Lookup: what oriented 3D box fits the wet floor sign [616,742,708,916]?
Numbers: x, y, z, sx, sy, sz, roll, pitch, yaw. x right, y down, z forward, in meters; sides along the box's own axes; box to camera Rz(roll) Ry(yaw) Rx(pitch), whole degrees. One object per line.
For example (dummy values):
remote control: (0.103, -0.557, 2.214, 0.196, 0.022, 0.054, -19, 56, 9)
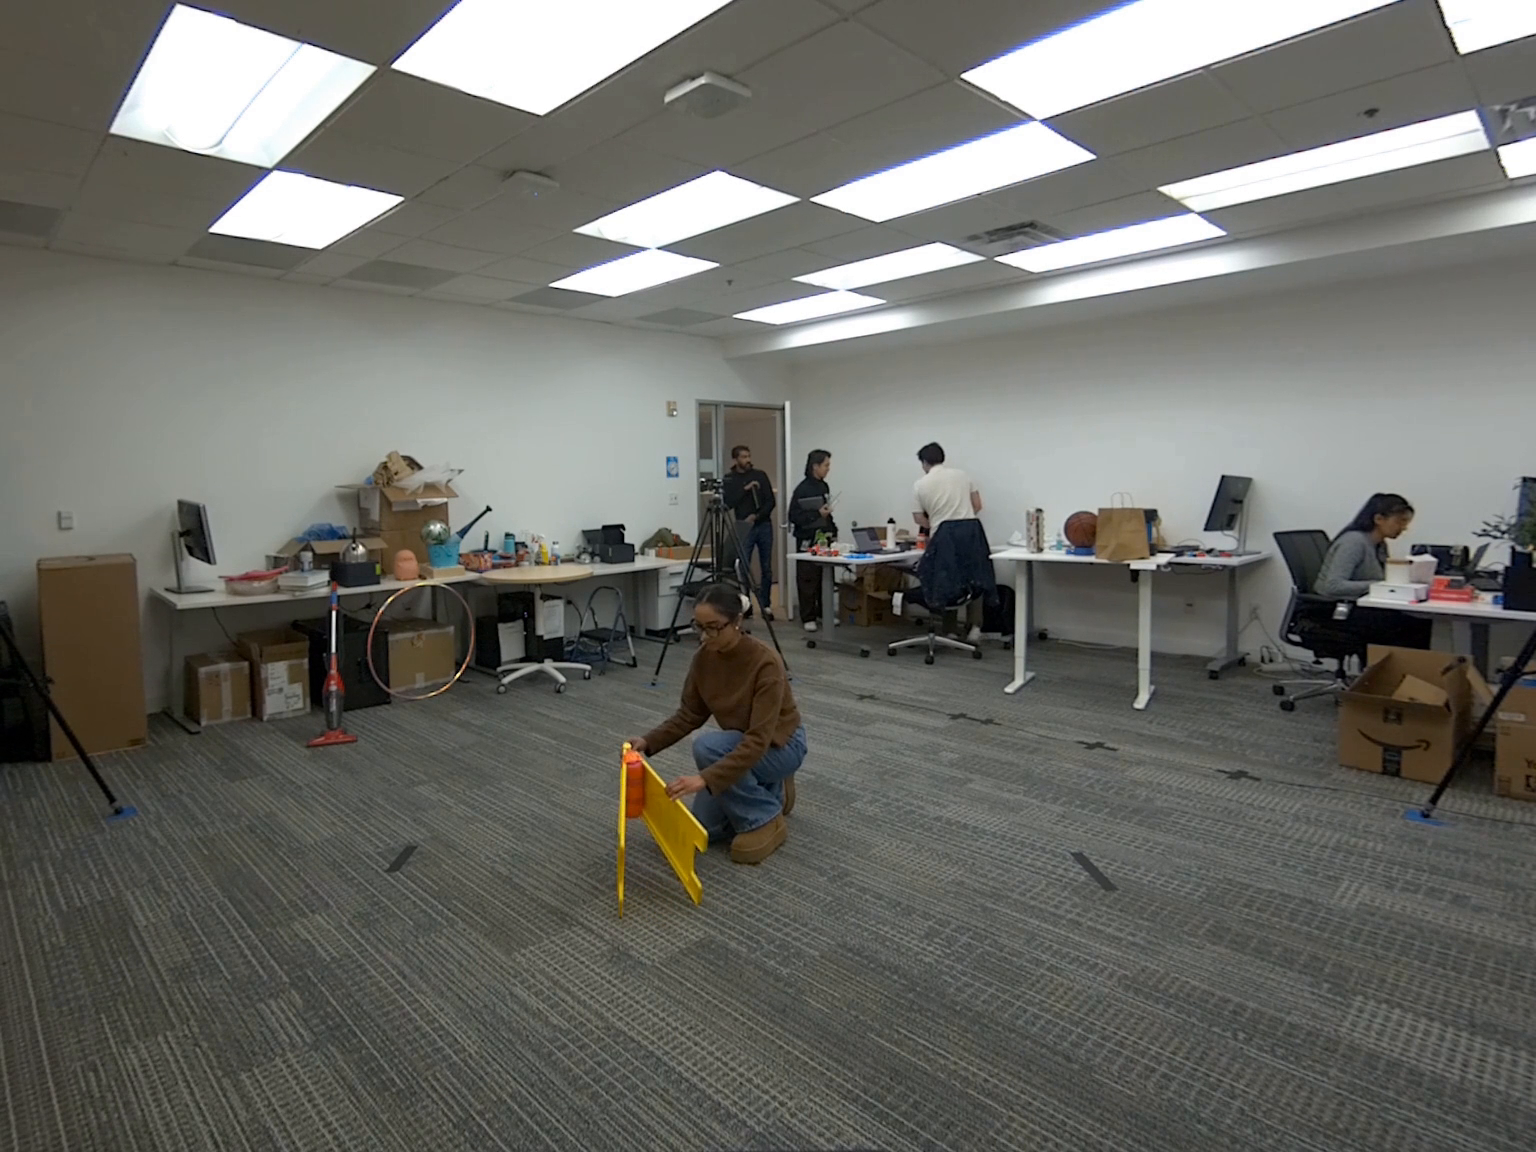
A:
wet floor sign: (-0.443, 0.849, 3.021, 0.285, 0.278, 0.667, -2, 21, -19)
